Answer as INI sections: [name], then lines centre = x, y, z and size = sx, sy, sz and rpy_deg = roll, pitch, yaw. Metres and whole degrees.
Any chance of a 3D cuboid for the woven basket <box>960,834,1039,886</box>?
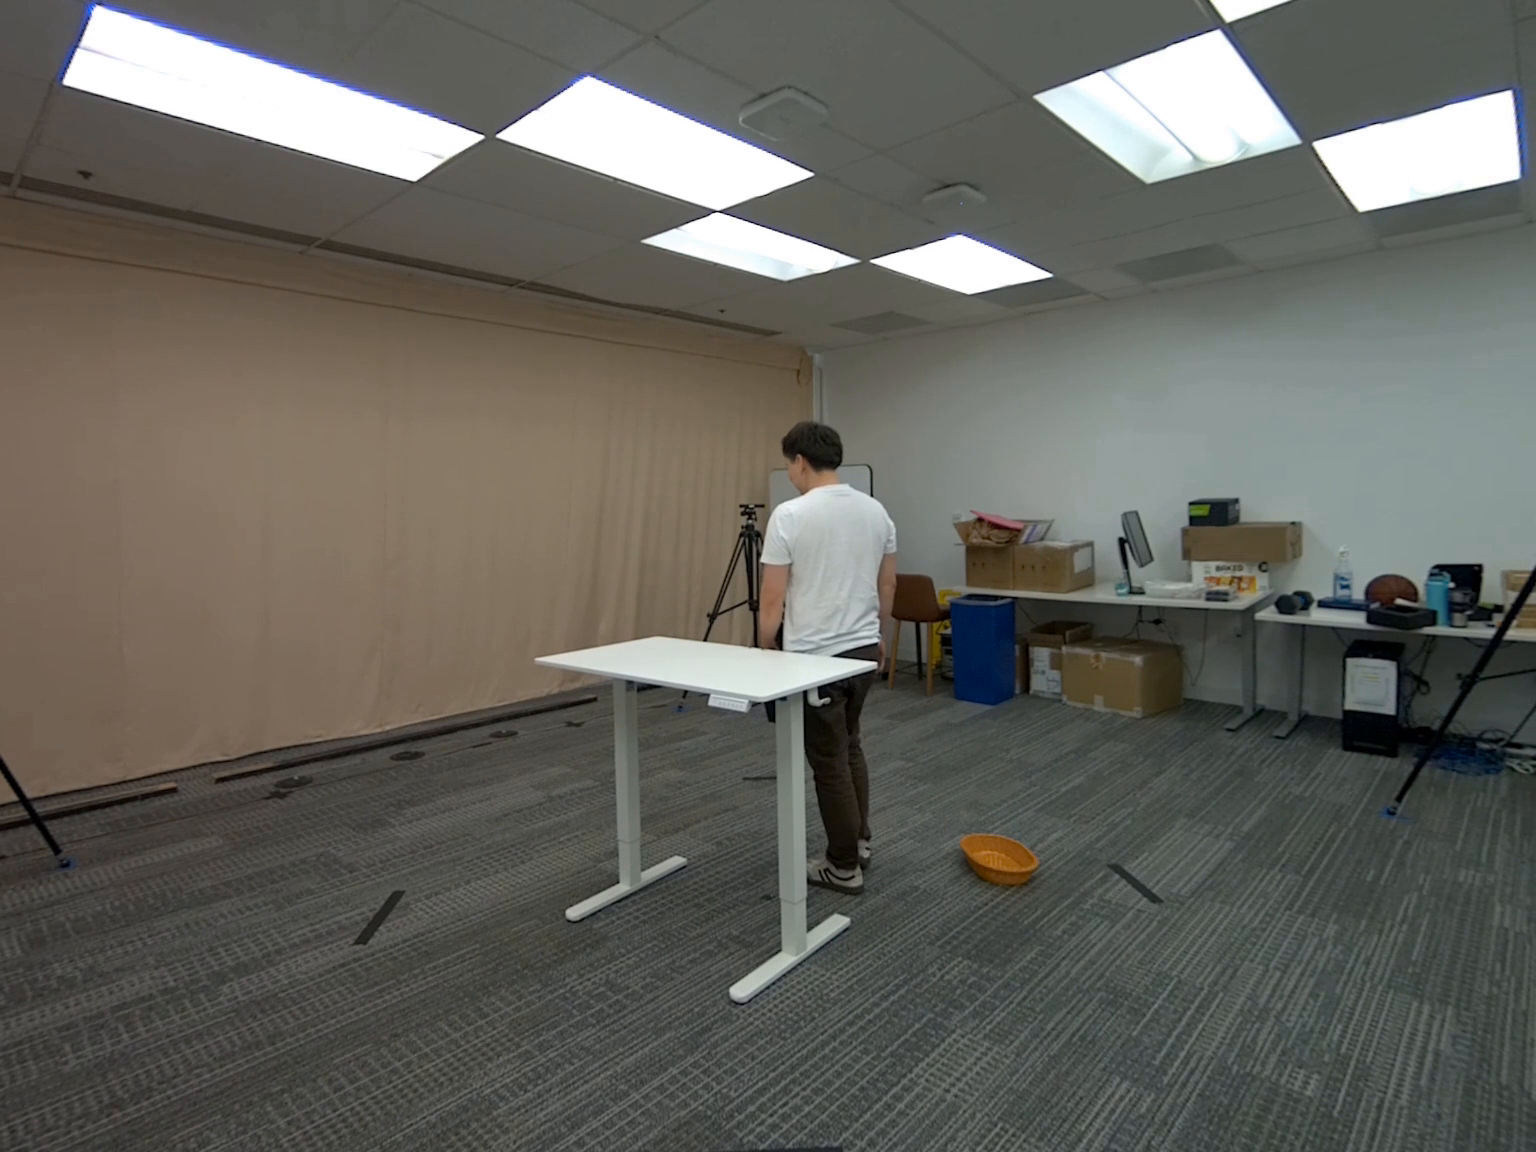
[woven basket]
centre = 0.874, 1.074, 3.173
size = 0.252, 0.073, 0.352
rpy_deg = 0, 4, -3
